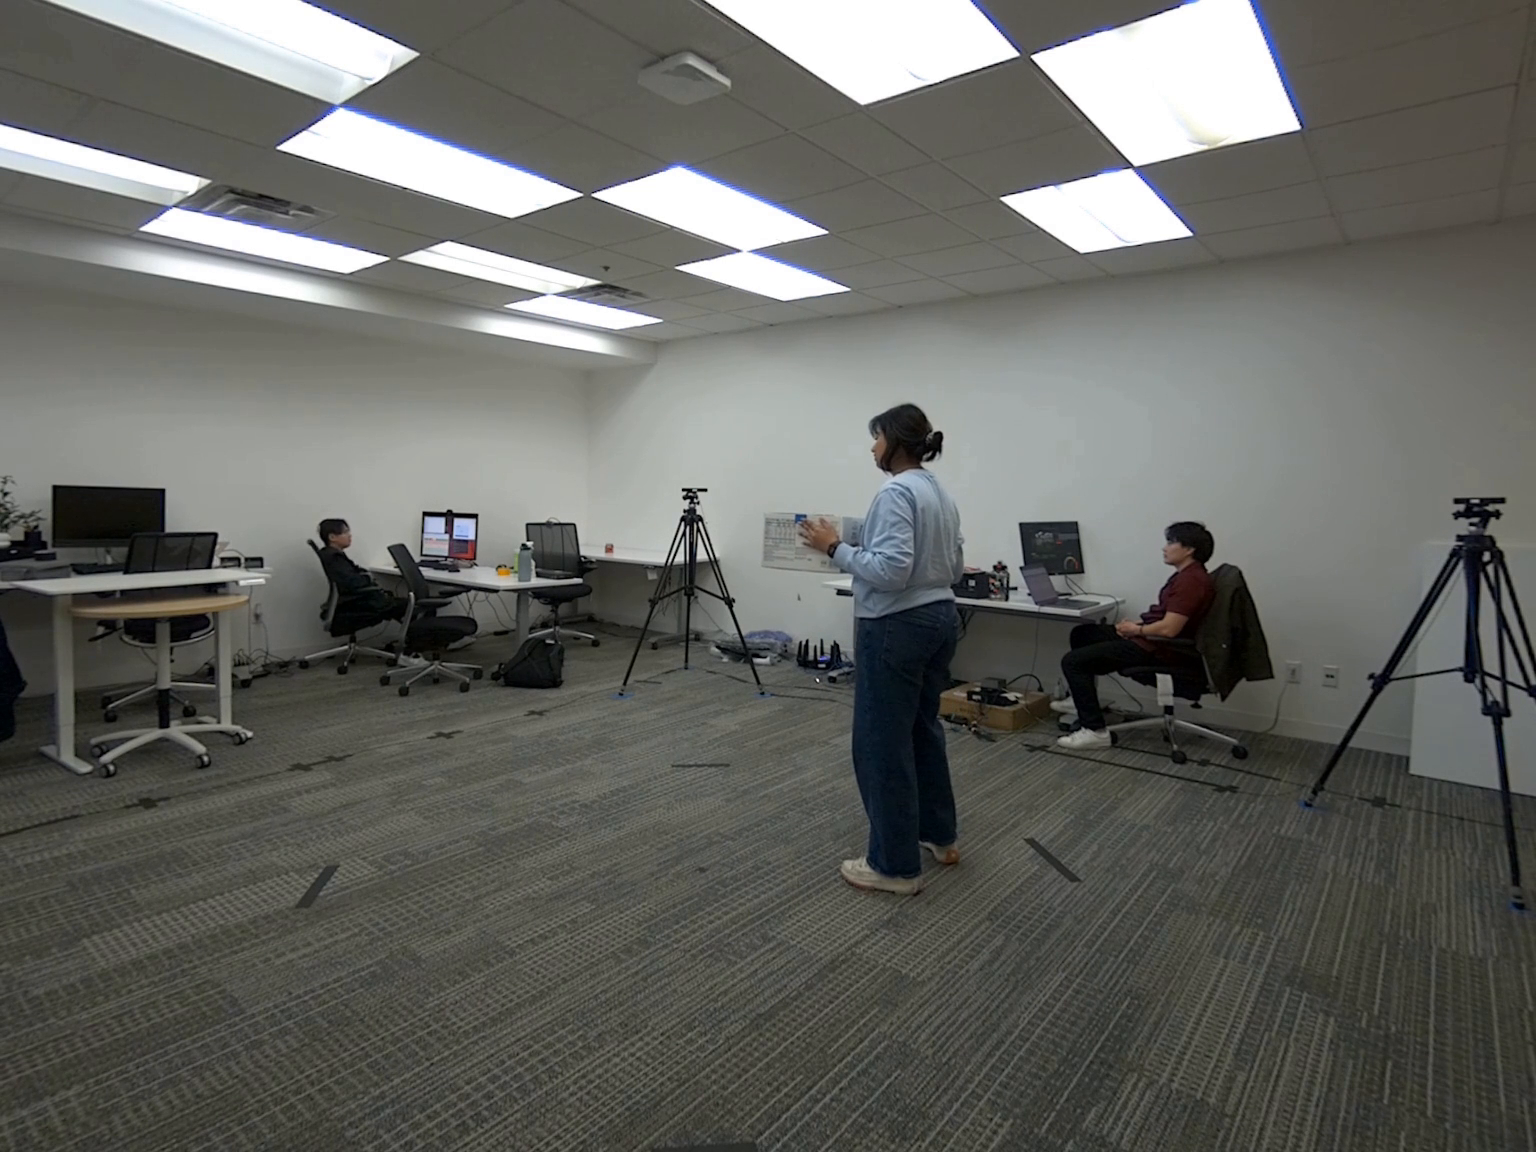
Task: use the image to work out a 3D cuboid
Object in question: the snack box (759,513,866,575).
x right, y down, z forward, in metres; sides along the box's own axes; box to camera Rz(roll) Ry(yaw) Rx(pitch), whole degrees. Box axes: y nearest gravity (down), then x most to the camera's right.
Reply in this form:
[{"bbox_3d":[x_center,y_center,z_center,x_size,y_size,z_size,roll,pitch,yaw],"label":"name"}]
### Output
[{"bbox_3d":[0.227,-0.126,3.203,0.351,0.205,0.393,4,3,36],"label":"snack box"}]
